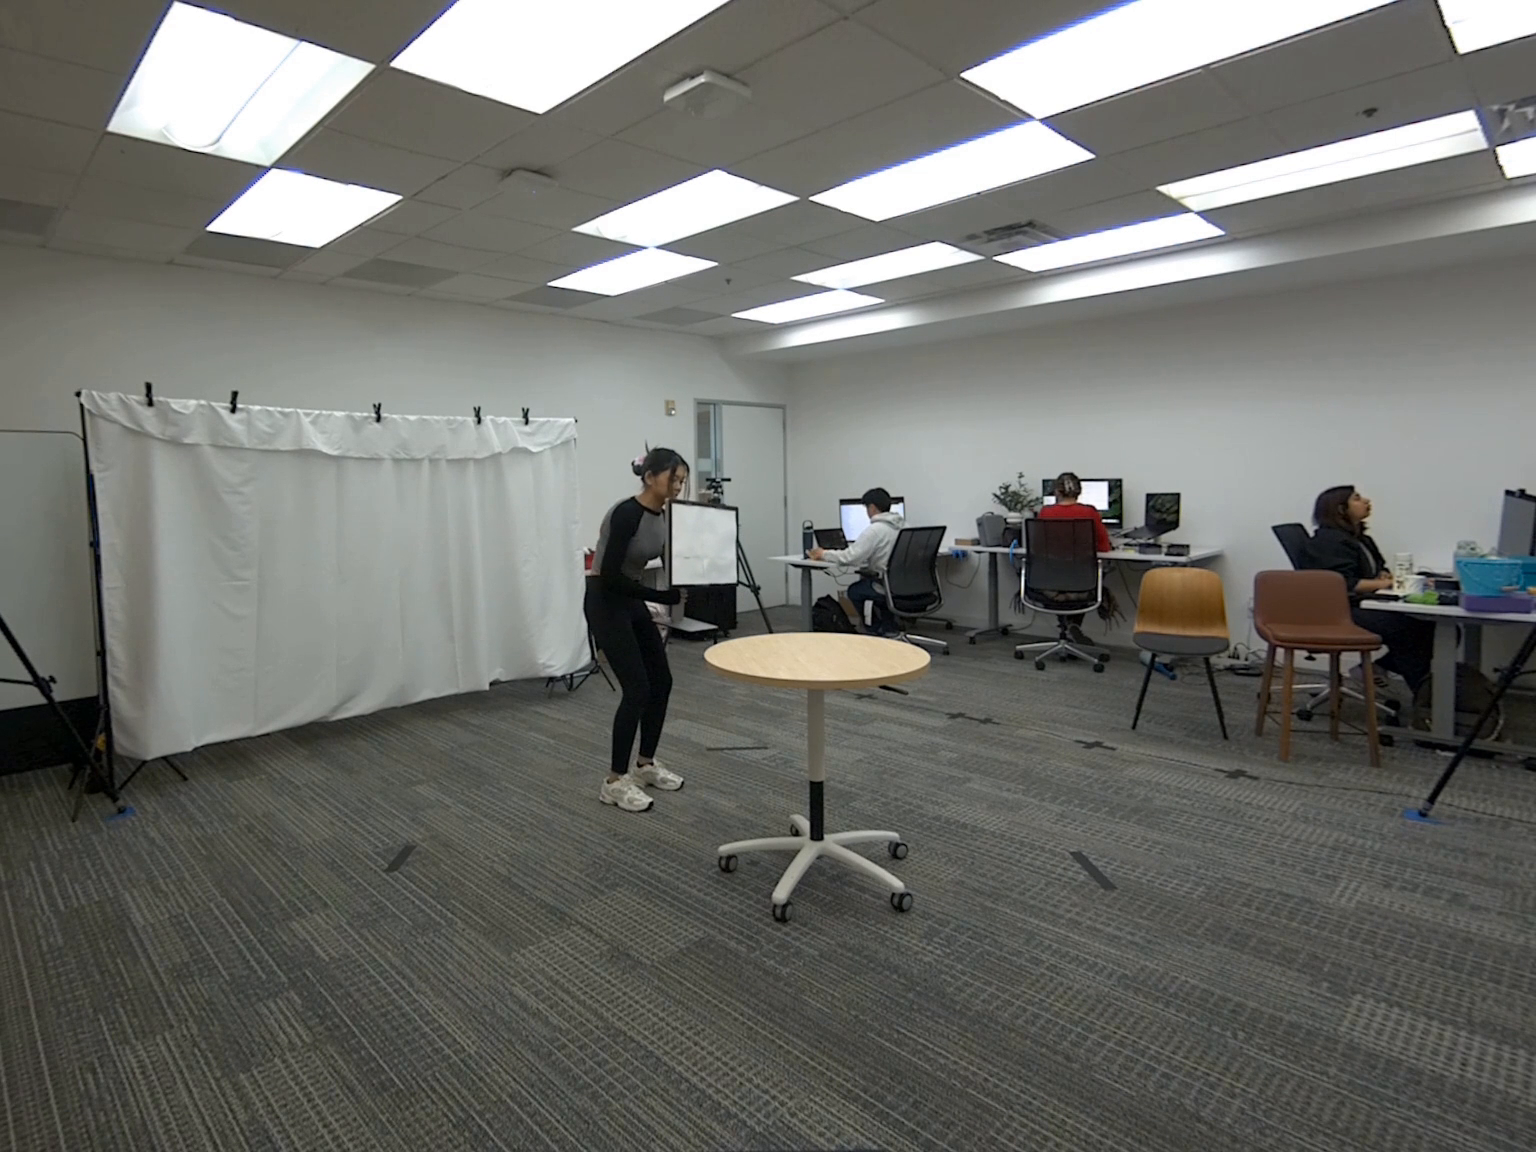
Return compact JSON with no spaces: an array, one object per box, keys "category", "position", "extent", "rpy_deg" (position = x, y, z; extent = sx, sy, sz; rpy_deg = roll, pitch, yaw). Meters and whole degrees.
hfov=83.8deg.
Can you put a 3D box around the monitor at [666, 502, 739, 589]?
[{"category":"monitor","position":[-0.322,-0.045,3.690],"extent":[0.192,0.521,0.525],"rpy_deg":[12,5,27]}]
